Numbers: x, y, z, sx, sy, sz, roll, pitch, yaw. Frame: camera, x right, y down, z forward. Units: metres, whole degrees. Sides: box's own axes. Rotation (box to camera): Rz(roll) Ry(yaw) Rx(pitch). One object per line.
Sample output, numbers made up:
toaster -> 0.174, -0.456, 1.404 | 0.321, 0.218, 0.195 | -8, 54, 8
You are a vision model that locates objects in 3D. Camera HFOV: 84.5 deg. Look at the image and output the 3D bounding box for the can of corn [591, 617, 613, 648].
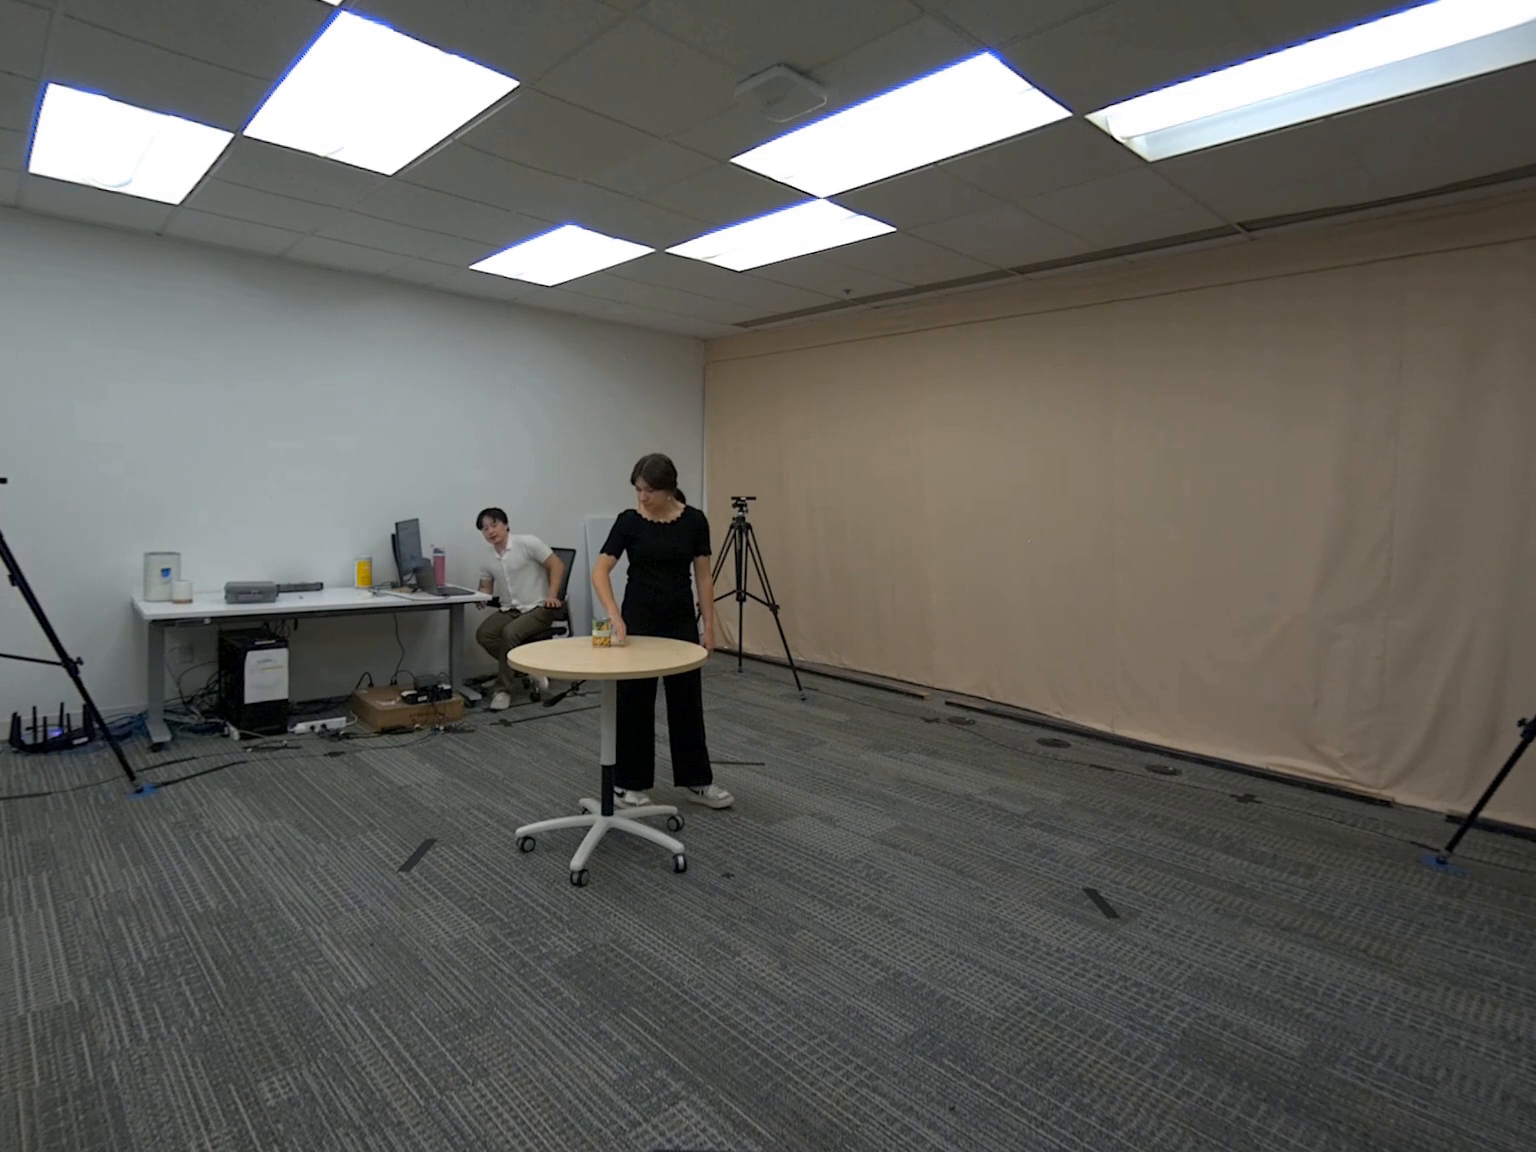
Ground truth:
can of corn -> -0.691, 0.229, 3.396 | 0.074, 0.111, 0.074 | -3, 1, -1
